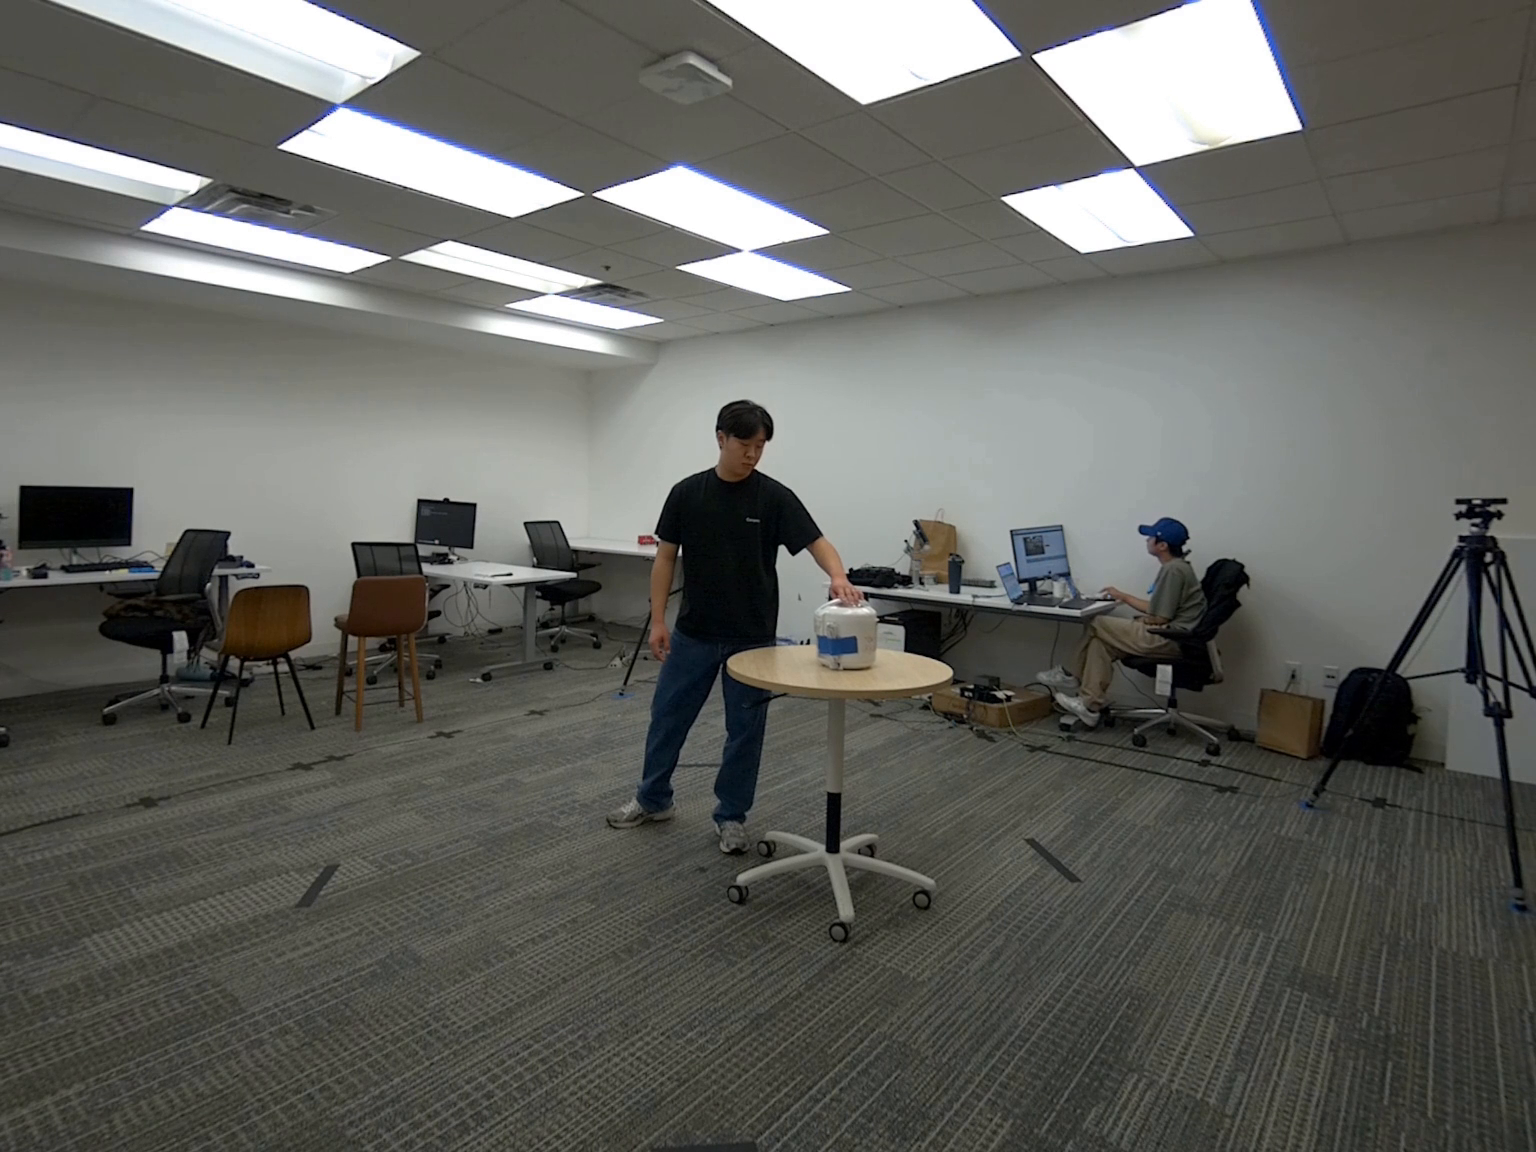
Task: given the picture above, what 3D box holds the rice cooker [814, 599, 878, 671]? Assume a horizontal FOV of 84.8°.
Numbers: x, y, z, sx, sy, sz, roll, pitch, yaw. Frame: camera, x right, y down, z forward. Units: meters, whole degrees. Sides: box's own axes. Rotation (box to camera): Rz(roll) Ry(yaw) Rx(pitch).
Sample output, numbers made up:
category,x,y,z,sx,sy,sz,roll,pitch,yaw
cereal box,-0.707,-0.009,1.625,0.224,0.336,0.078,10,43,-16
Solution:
category,x,y,z,sx,sy,sz,roll,pitch,yaw
rice cooker,0.260,0.187,2.920,0.217,0.232,0.222,1,4,-16
